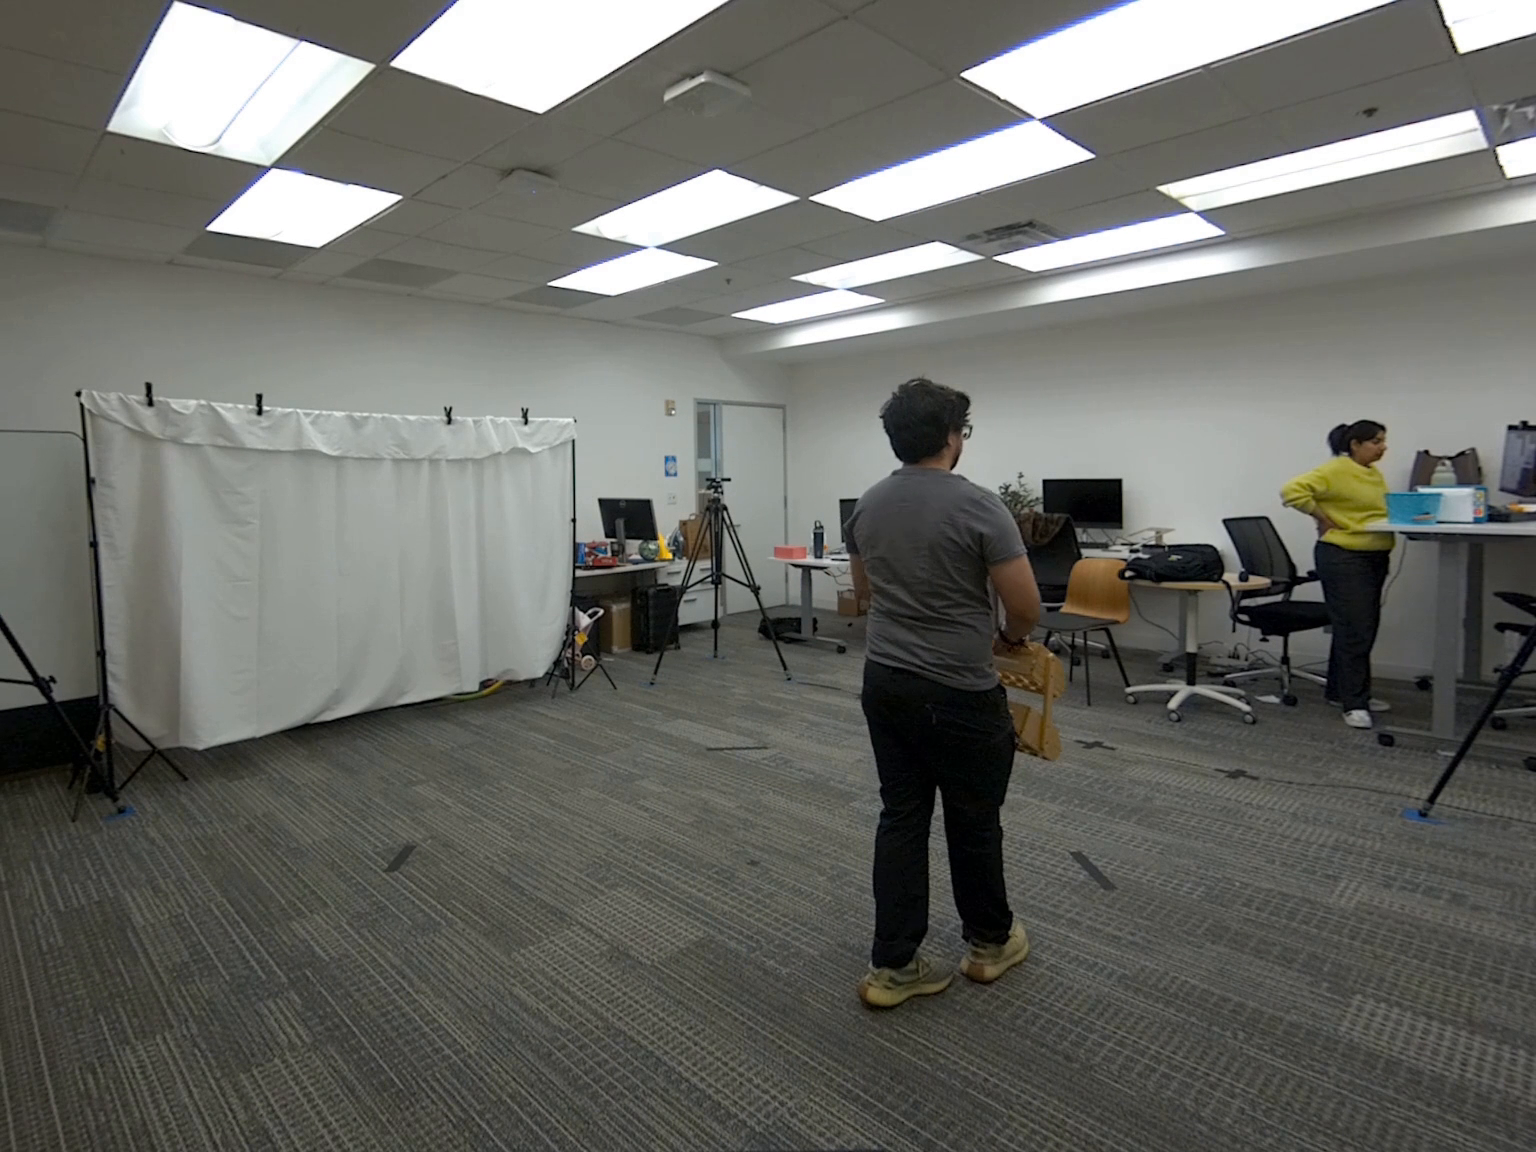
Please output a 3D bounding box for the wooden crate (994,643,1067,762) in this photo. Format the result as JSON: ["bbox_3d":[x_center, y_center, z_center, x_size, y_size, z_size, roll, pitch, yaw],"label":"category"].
[{"bbox_3d":[0.713,0.347,2.555,0.335,0.275,0.290,9,-20,47],"label":"wooden crate"}]
